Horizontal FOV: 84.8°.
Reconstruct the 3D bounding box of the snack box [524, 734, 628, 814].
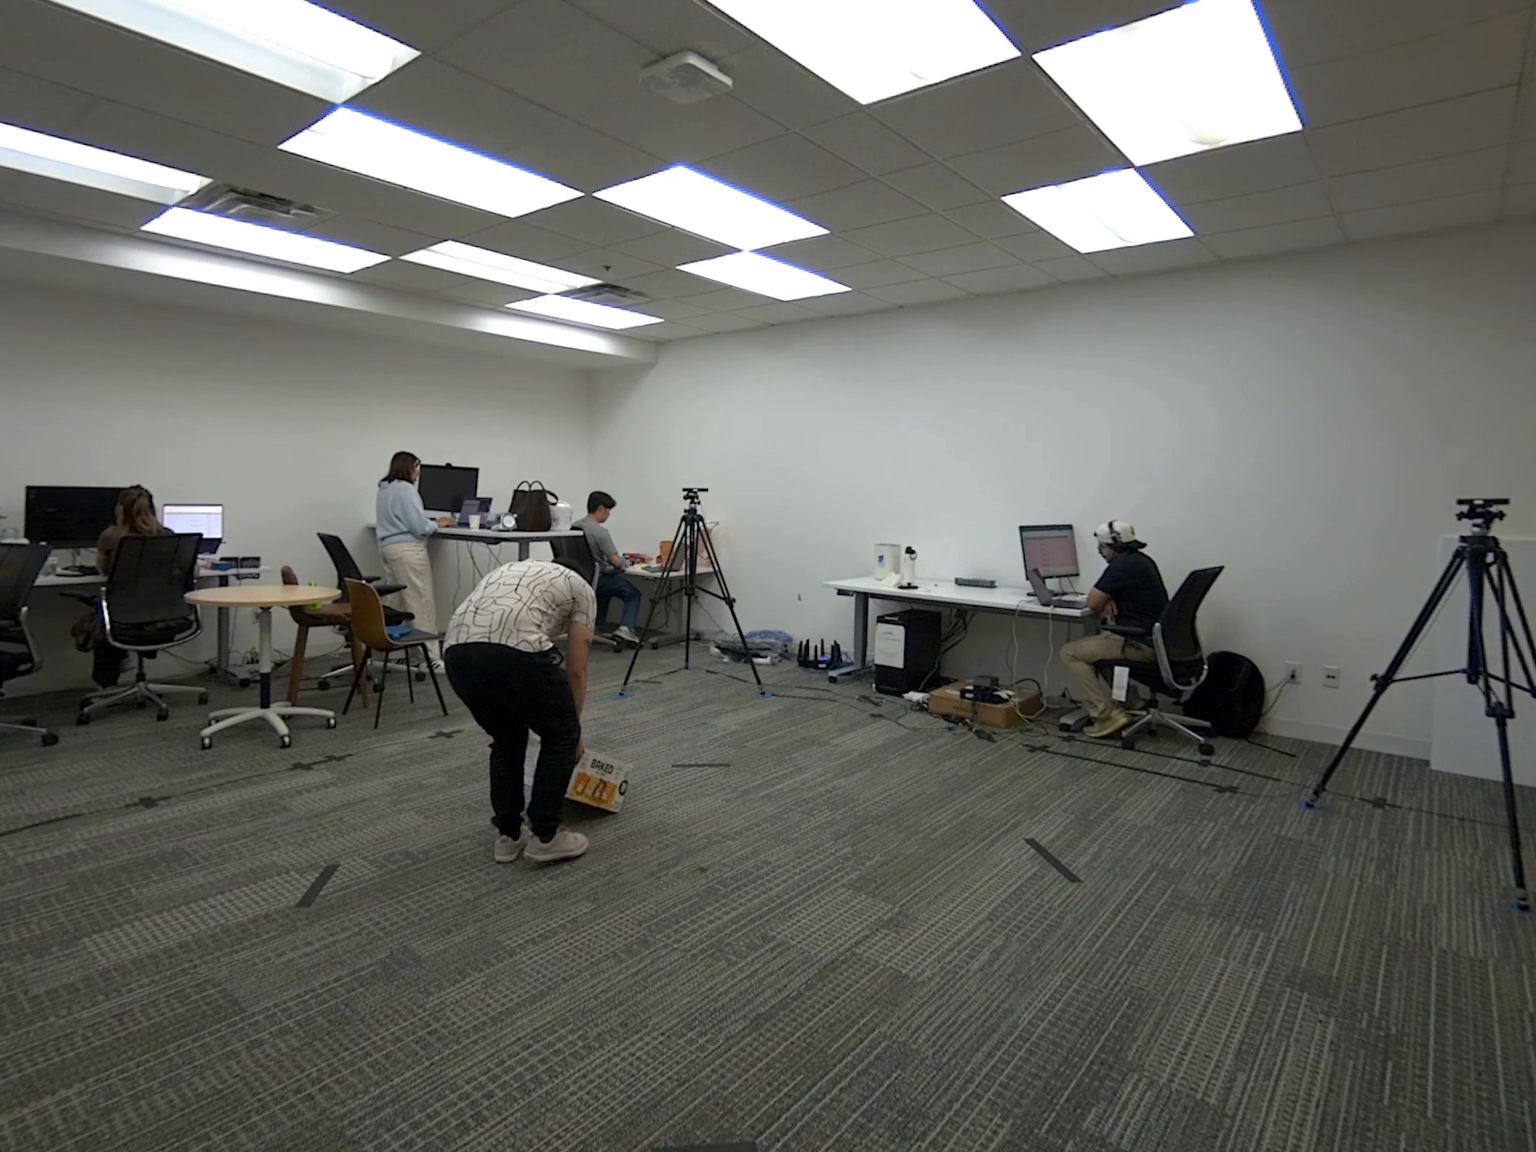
[{"bbox_3d":[-0.856,0.832,3.618,0.351,0.208,0.388,4,-21,33],"label":"snack box"}]
